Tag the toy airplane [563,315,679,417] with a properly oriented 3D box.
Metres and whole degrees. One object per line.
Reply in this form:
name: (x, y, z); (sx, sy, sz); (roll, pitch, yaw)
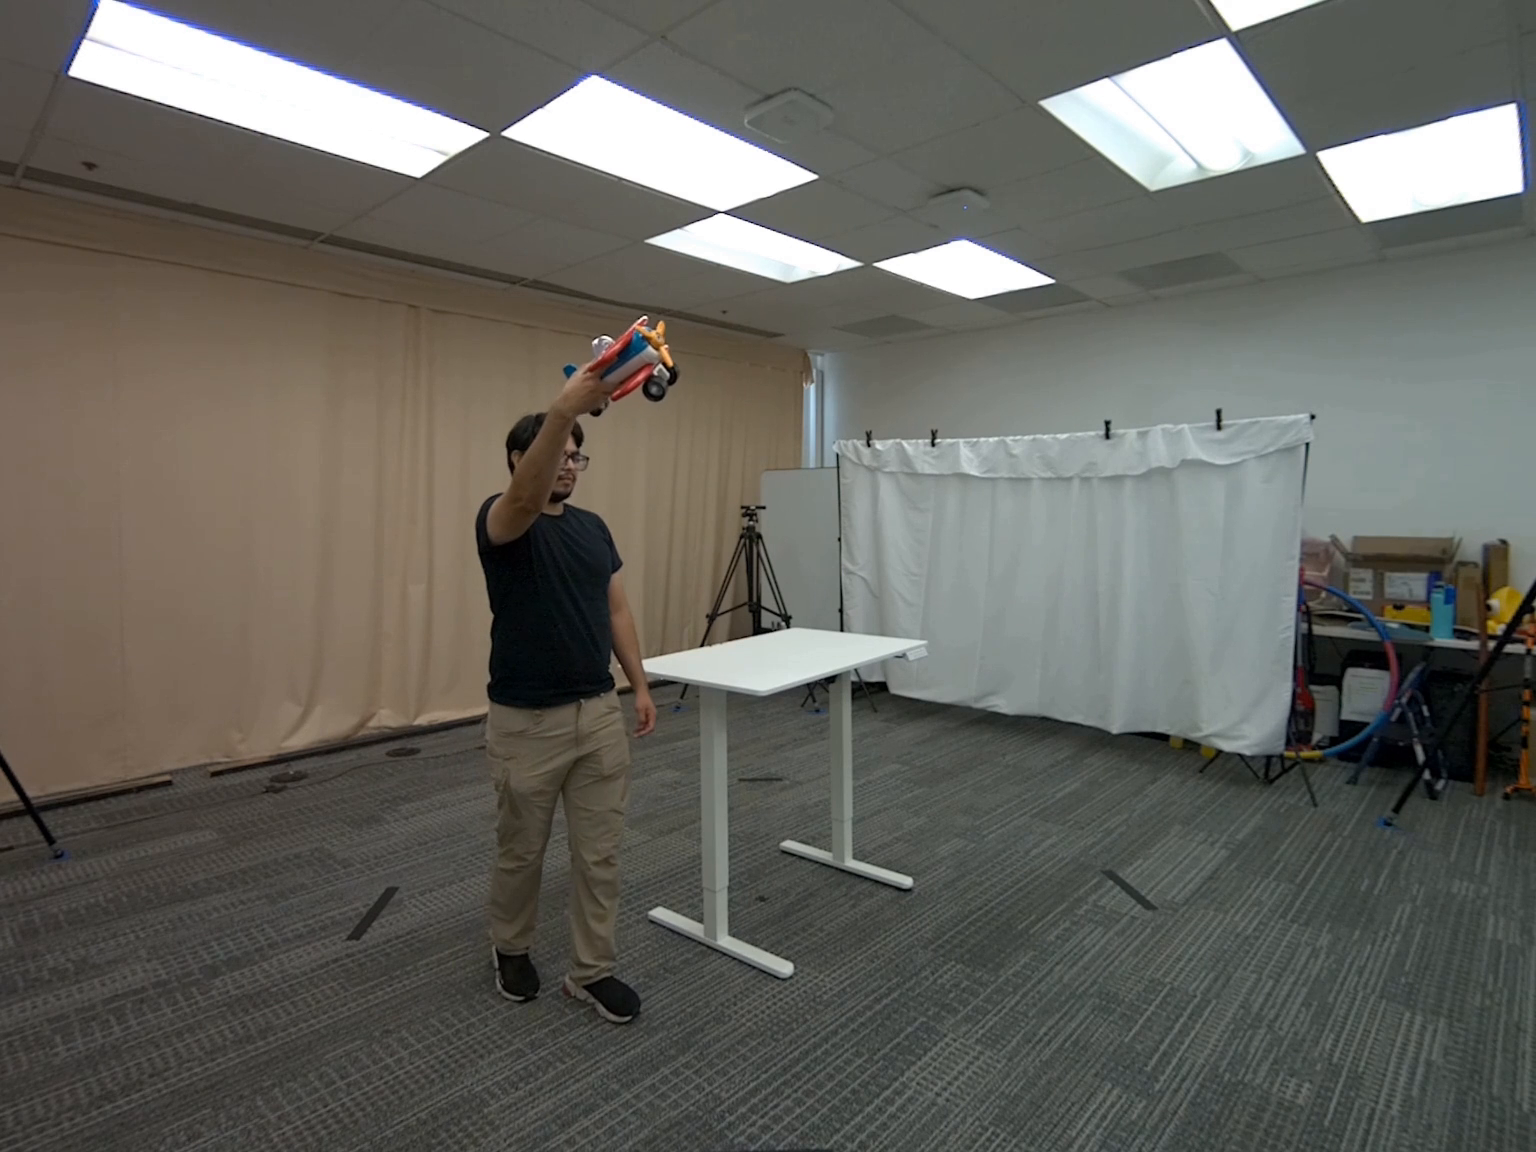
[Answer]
toy airplane: (-0.324, -0.448, 1.853); (0.259, 0.153, 0.257); (-24, 28, -1)
